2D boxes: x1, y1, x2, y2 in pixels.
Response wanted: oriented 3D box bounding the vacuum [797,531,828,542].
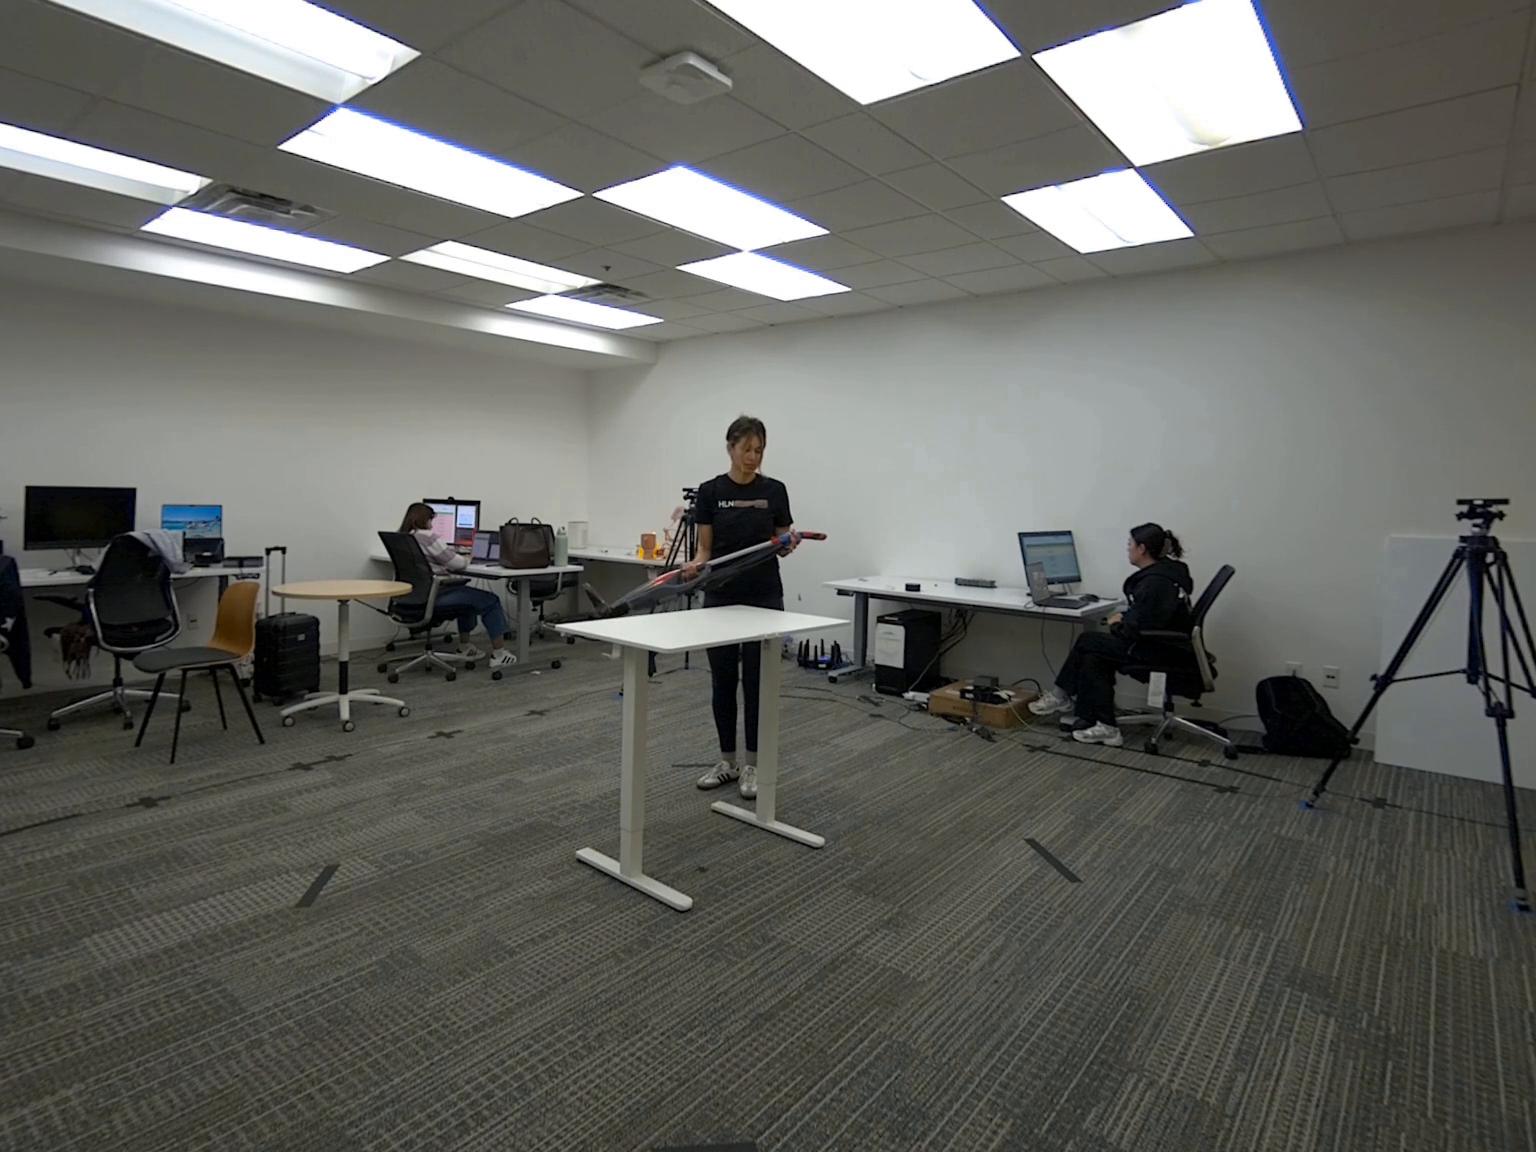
[{"bbox_3d":[-0.270,-0.013,3.711,1.047,0.149,0.245,-18,-31,-3],"label":"vacuum"}]
